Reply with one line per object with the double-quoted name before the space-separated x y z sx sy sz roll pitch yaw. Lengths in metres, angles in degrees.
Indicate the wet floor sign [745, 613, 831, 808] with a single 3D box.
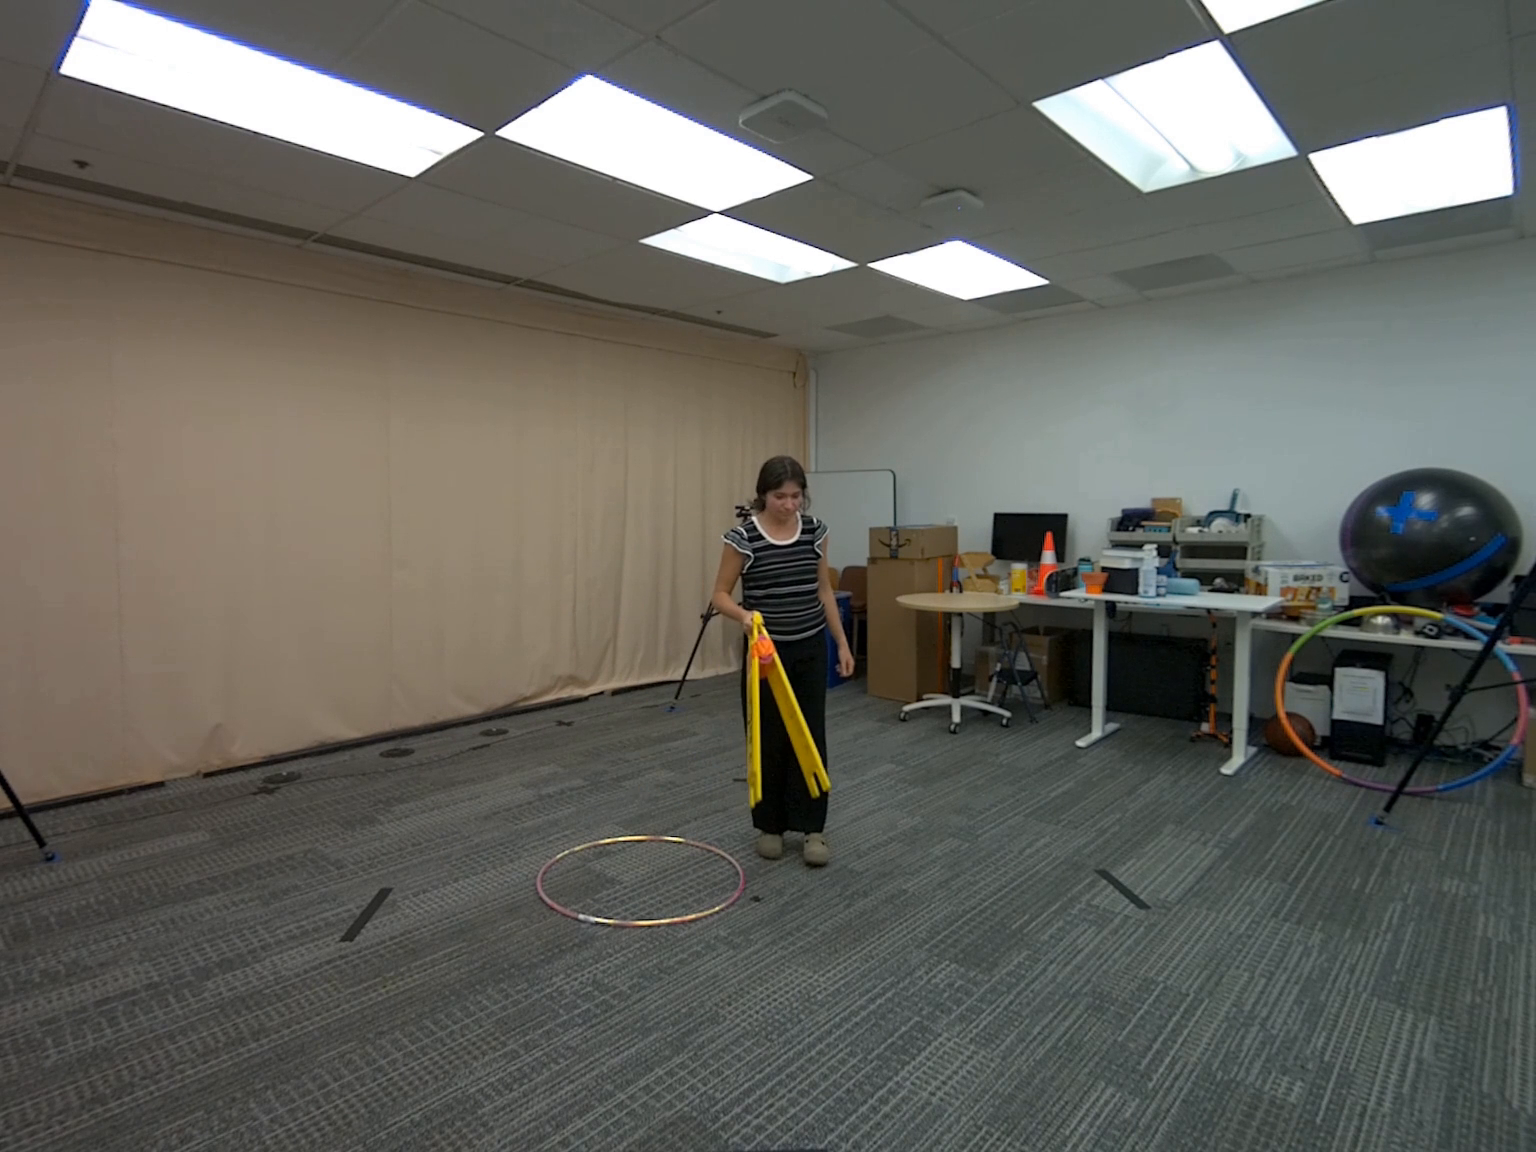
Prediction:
"wet floor sign" 0.003 0.462 2.996 0.287 0.656 0.280 -7 -20 -9
